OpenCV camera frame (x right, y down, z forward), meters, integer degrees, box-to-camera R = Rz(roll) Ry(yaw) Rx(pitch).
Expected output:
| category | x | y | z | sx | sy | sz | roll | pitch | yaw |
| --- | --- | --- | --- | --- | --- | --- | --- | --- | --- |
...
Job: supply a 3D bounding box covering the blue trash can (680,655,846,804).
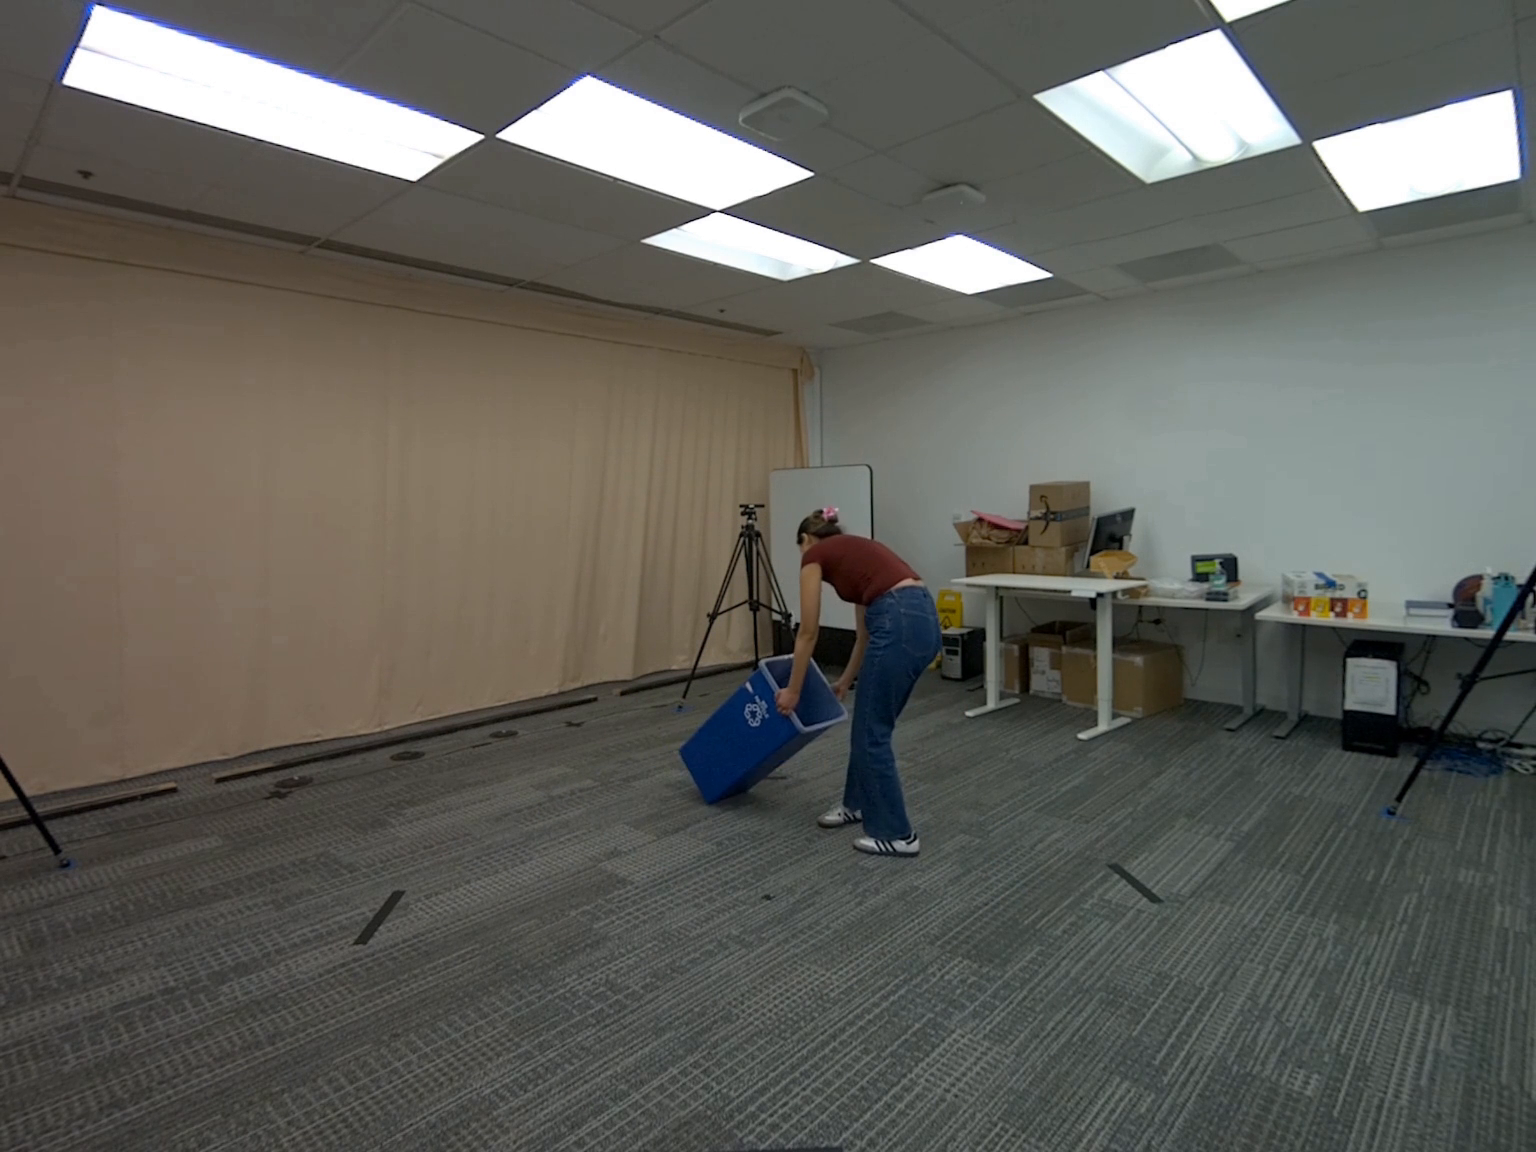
| category | x | y | z | sx | sy | sz | roll | pitch | yaw |
| --- | --- | --- | --- | --- | --- | --- | --- | --- | --- |
| blue trash can | -0.036 | 0.722 | 3.875 | 0.366 | 0.383 | 0.718 | -3 | -37 | -51 |
